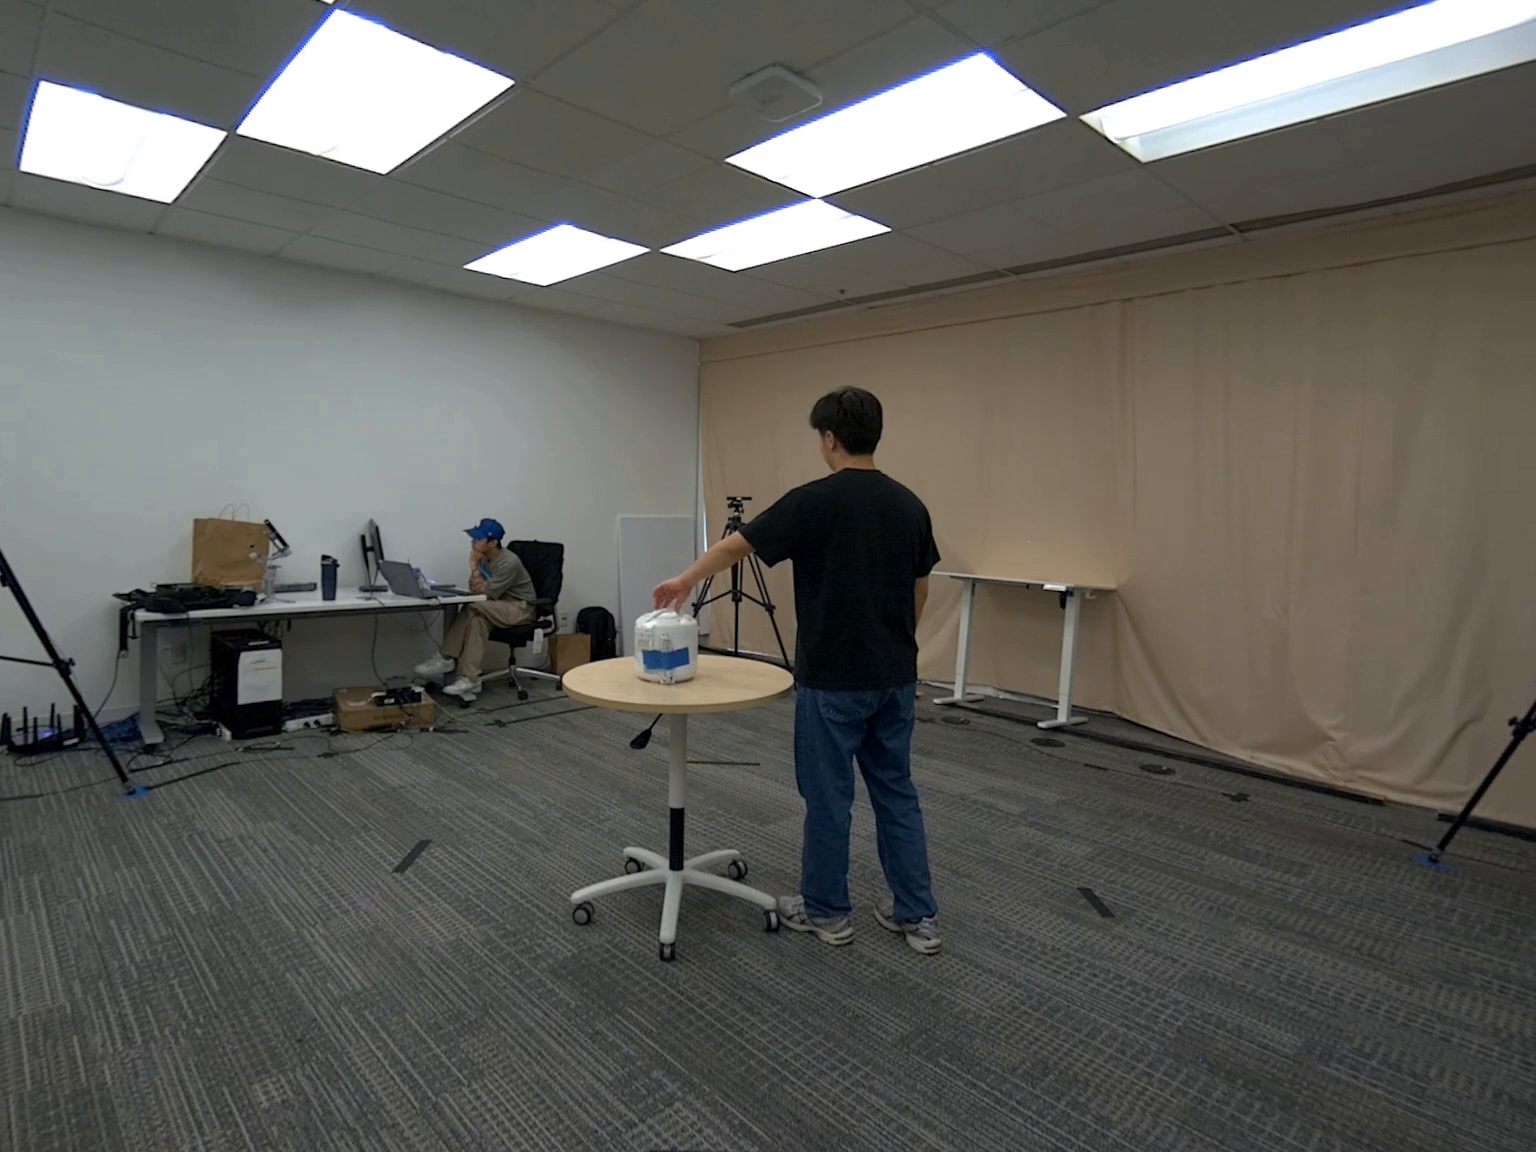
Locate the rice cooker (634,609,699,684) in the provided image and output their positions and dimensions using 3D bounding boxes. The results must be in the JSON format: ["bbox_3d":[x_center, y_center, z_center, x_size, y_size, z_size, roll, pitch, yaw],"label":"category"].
[{"bbox_3d":[-0.337,0.222,2.769,0.223,0.232,0.216,6,7,39],"label":"rice cooker"}]
